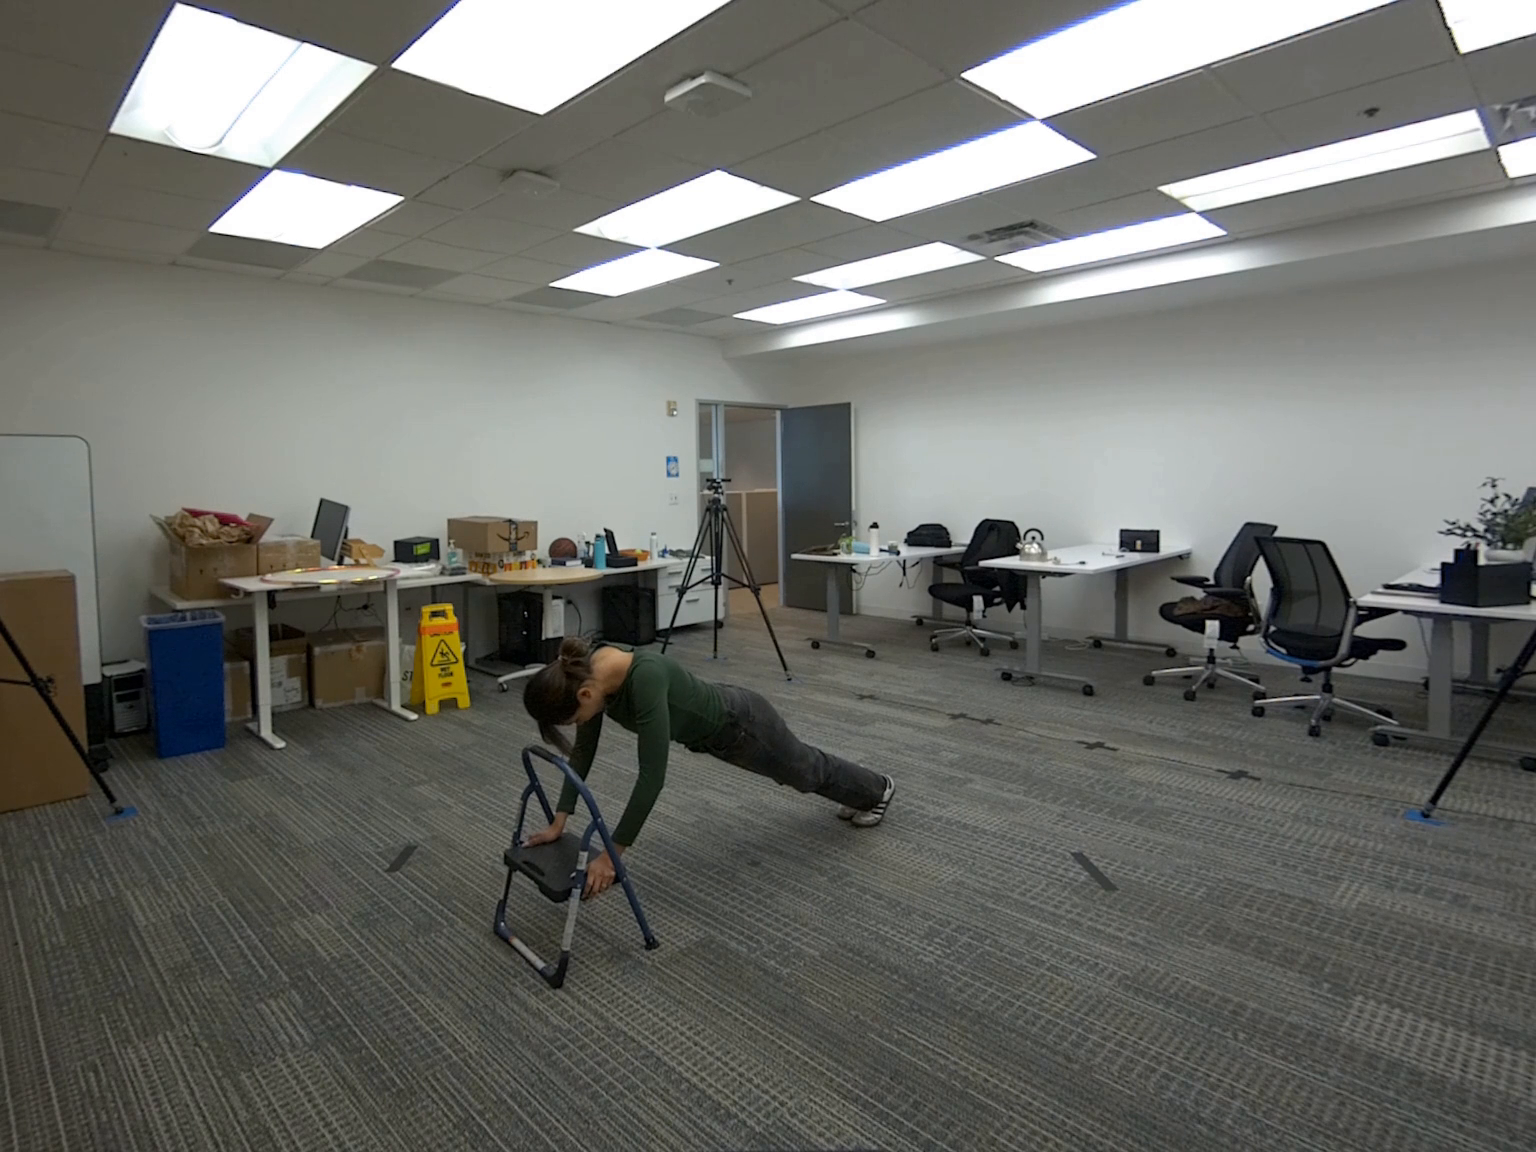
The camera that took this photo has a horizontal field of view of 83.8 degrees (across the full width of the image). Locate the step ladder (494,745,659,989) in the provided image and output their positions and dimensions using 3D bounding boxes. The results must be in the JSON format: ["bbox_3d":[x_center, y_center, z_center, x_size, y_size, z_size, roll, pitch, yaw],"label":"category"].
[{"bbox_3d":[-0.600,0.814,2.602,0.340,0.604,0.444,-5,6,-41],"label":"step ladder"}]
